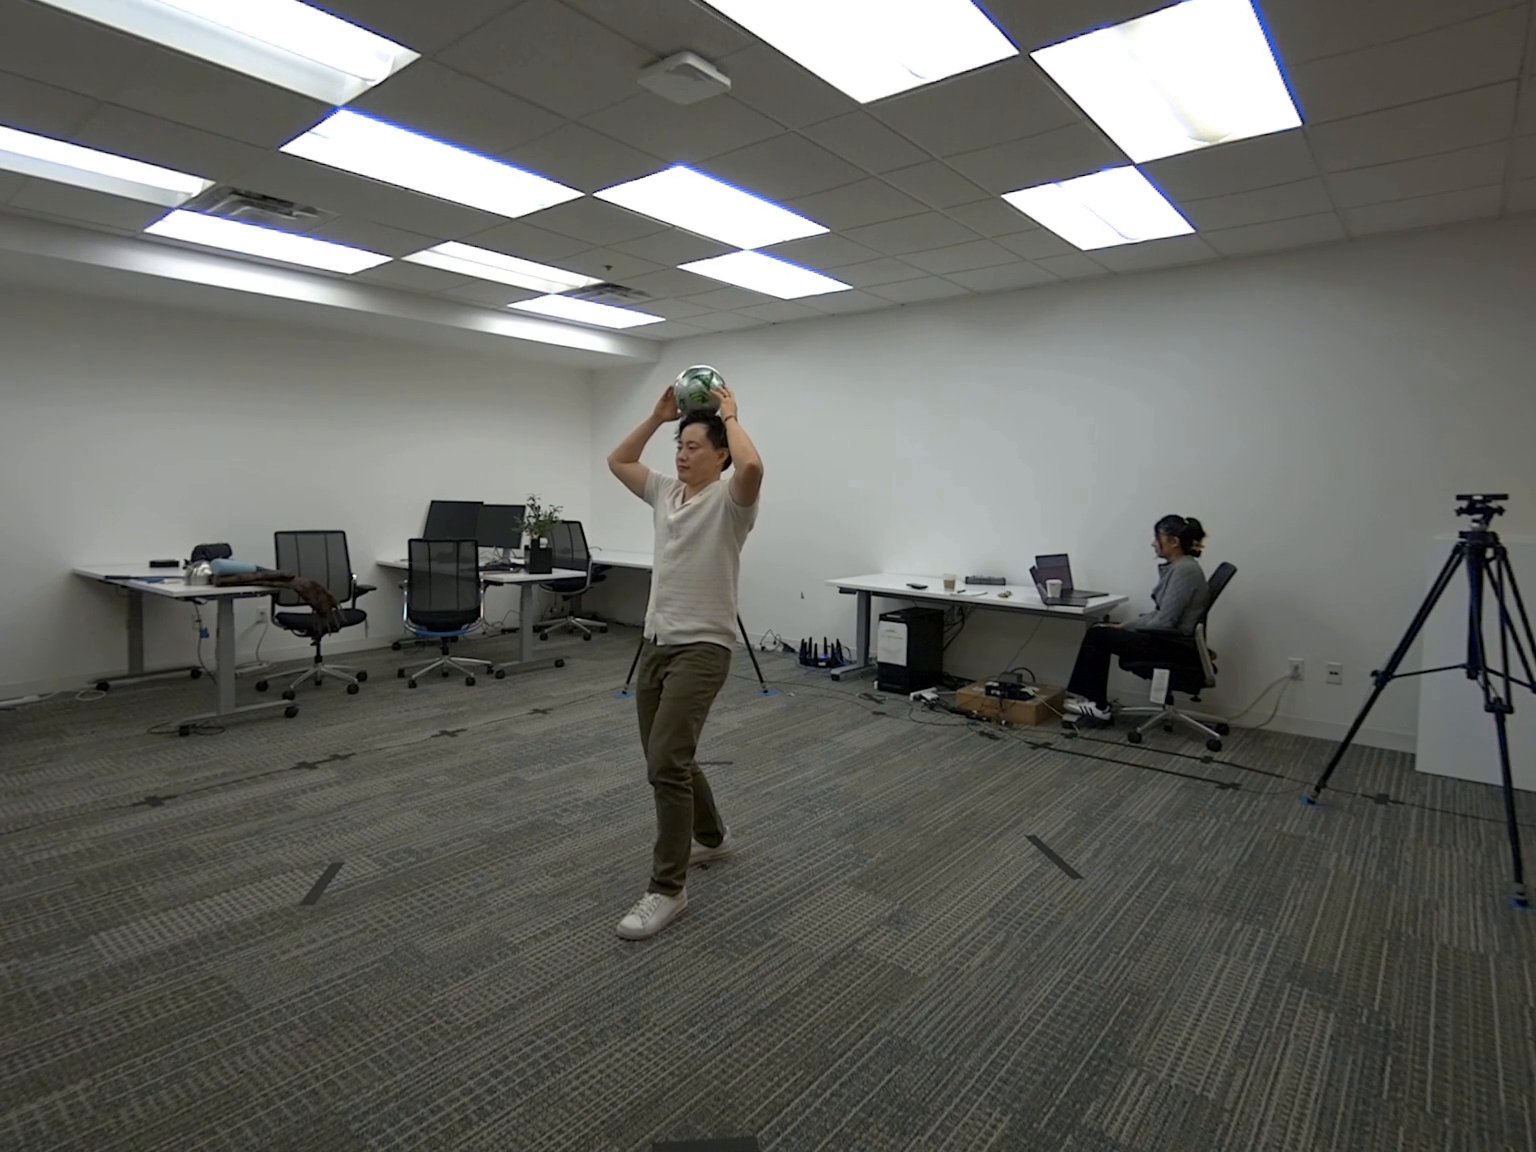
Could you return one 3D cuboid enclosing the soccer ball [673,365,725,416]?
[{"bbox_3d":[-0.246,-0.647,3.005,0.187,0.187,0.188,1,4,-2],"label":"soccer ball"}]
